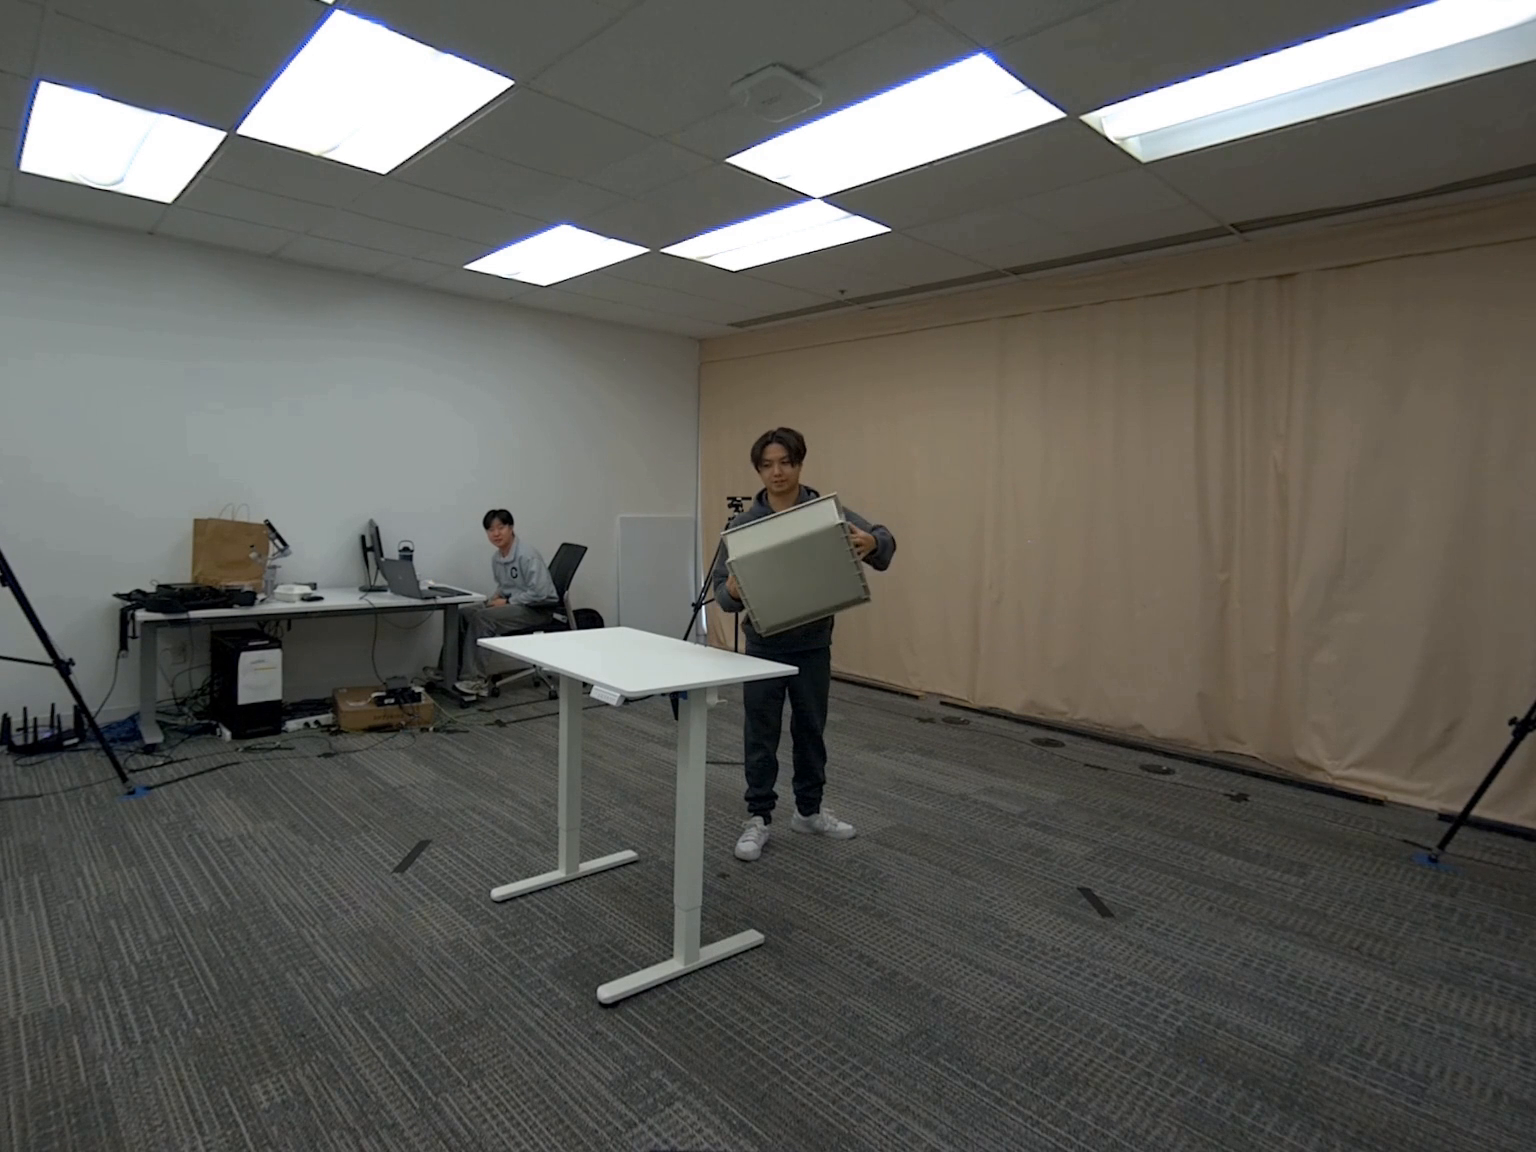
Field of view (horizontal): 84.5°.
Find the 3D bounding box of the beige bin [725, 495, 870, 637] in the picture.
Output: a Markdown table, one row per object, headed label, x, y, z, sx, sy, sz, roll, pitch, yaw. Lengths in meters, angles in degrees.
| label | x | y | z | sx | sy | sz | roll | pitch | yaw |
| --- | --- | --- | --- | --- | --- | --- | --- | --- | --- |
| beige bin | 0.098 | -0.017 | 2.893 | 0.424 | 0.368 | 0.193 | -19 | 30 | 9 |
